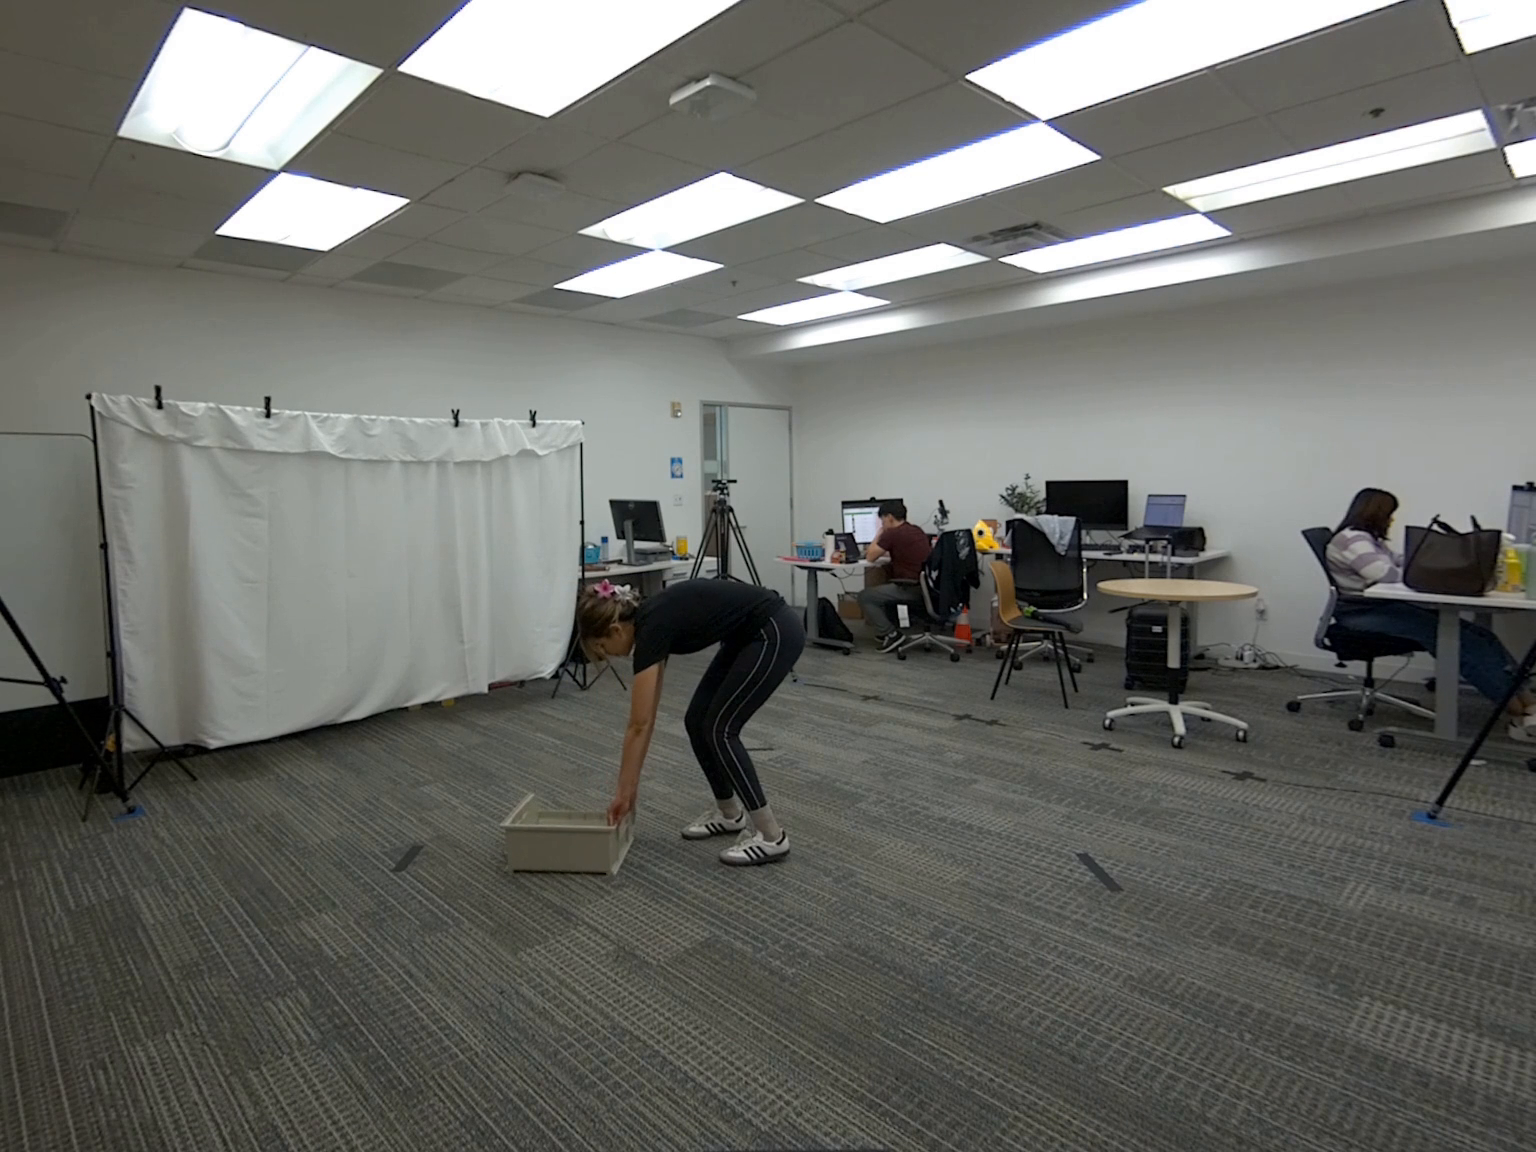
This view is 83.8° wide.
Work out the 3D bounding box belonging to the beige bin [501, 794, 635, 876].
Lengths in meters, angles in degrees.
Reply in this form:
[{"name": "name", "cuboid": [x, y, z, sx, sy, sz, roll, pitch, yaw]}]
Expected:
[{"name": "beige bin", "cuboid": [-0.745, 0.959, 3.226, 0.424, 0.188, 0.377, 0, 6, 4]}]
